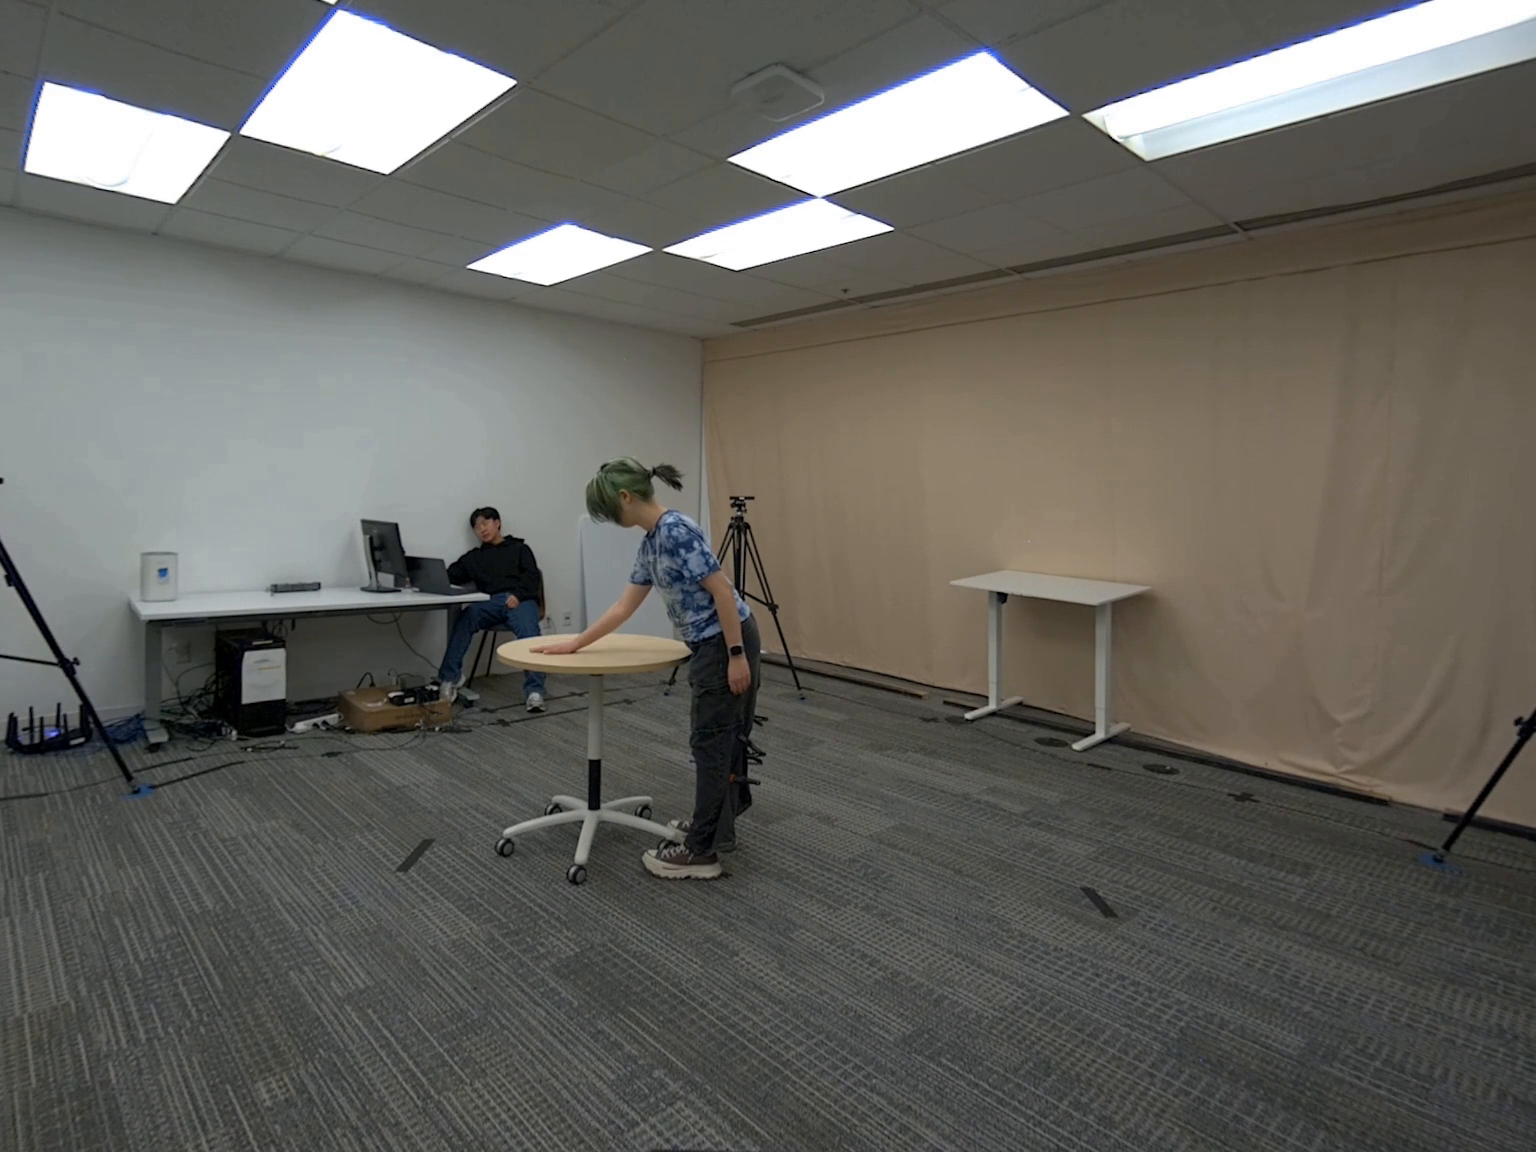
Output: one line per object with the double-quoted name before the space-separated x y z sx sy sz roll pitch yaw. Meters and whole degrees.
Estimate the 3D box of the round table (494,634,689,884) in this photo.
"round table" -0.680 0.675 3.350 0.784 0.784 0.788 1 4 -1
